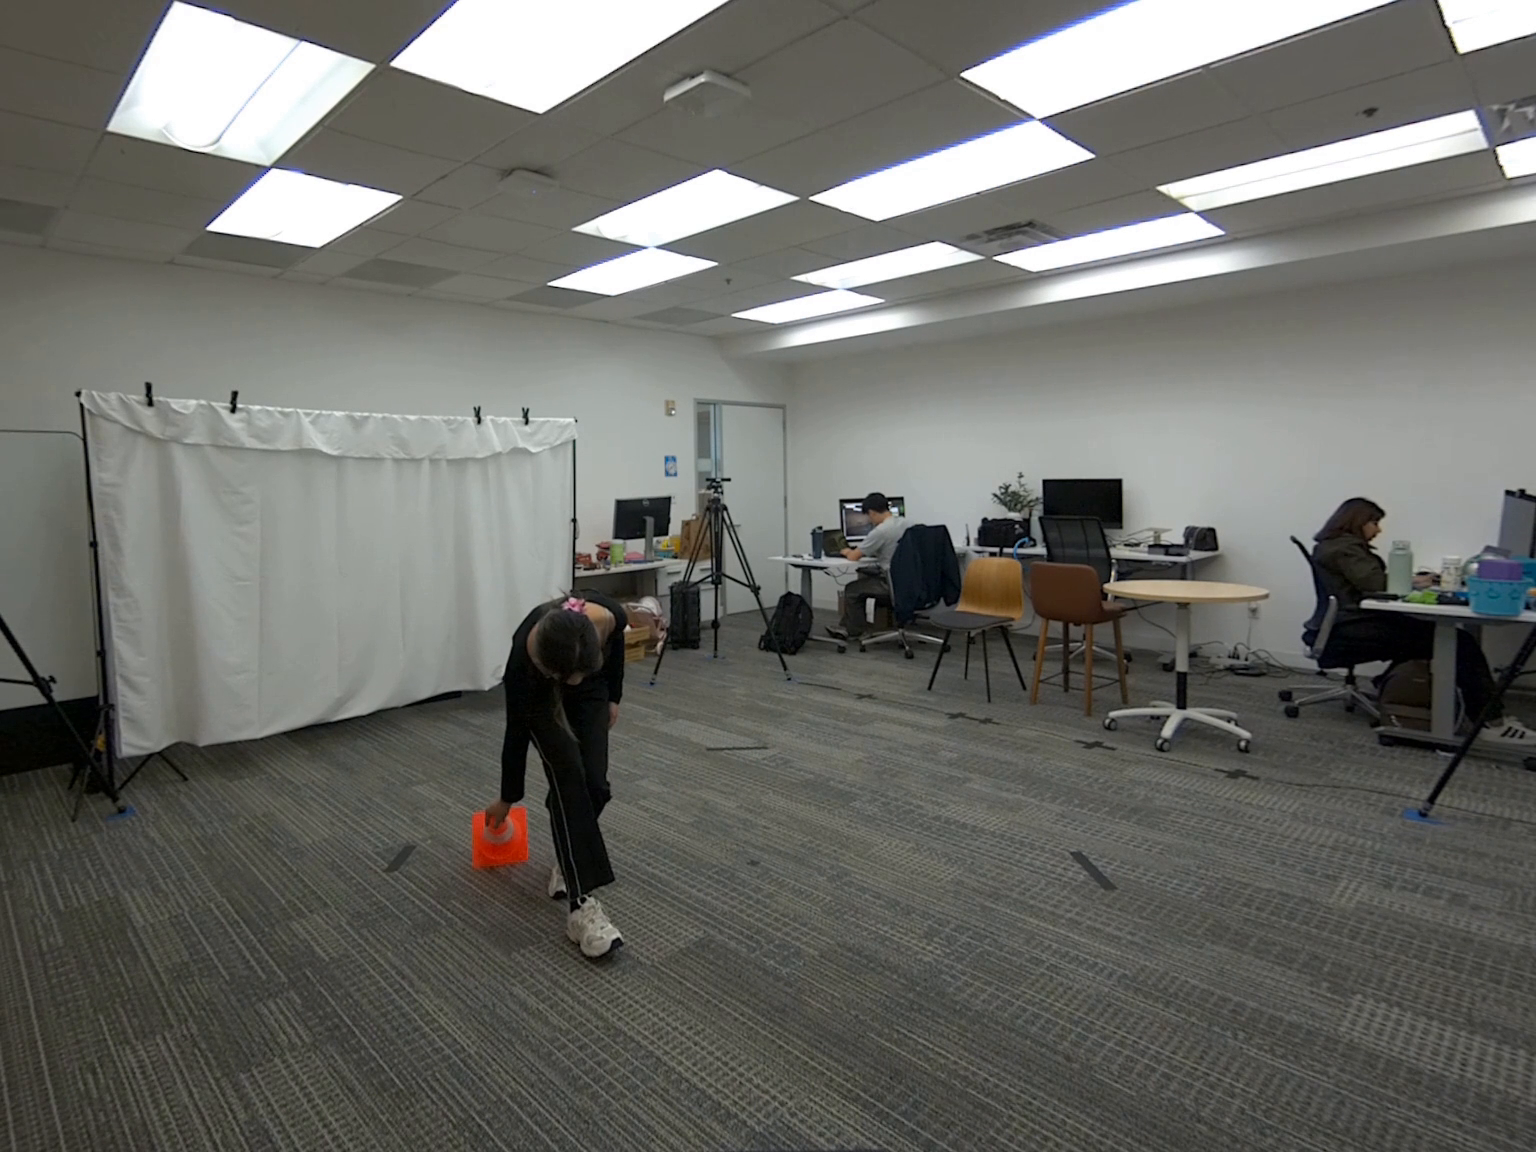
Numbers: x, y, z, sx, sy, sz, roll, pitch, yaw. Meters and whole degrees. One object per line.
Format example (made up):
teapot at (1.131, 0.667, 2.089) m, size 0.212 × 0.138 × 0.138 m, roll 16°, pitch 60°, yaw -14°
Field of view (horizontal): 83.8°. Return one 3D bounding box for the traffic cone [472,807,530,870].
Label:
traffic cone at (-0.955, 0.892, 3.013) m, size 0.202 × 0.208 × 0.379 m, roll -6°, pitch -24°, yaw -14°
